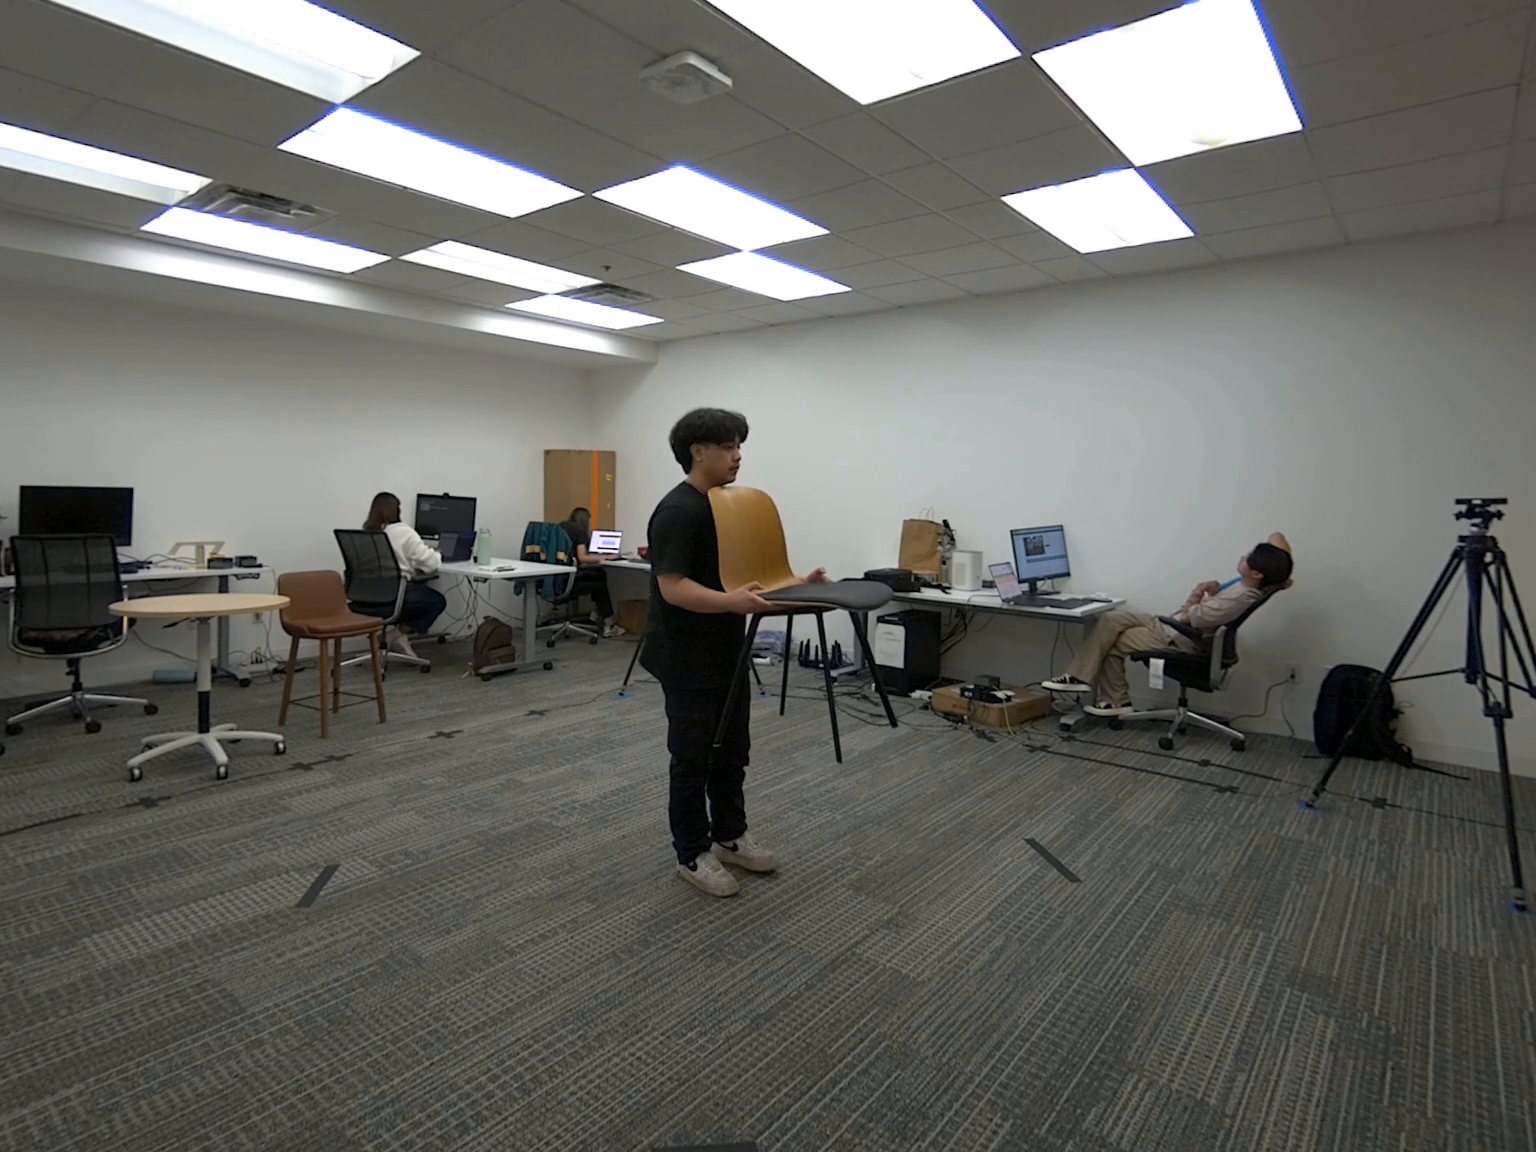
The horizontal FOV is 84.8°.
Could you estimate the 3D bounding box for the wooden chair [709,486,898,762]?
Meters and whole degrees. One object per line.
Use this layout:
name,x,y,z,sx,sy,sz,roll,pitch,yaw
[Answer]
wooden chair,0.114,0.111,2.810,0.537,0.878,0.465,-6,0,32
